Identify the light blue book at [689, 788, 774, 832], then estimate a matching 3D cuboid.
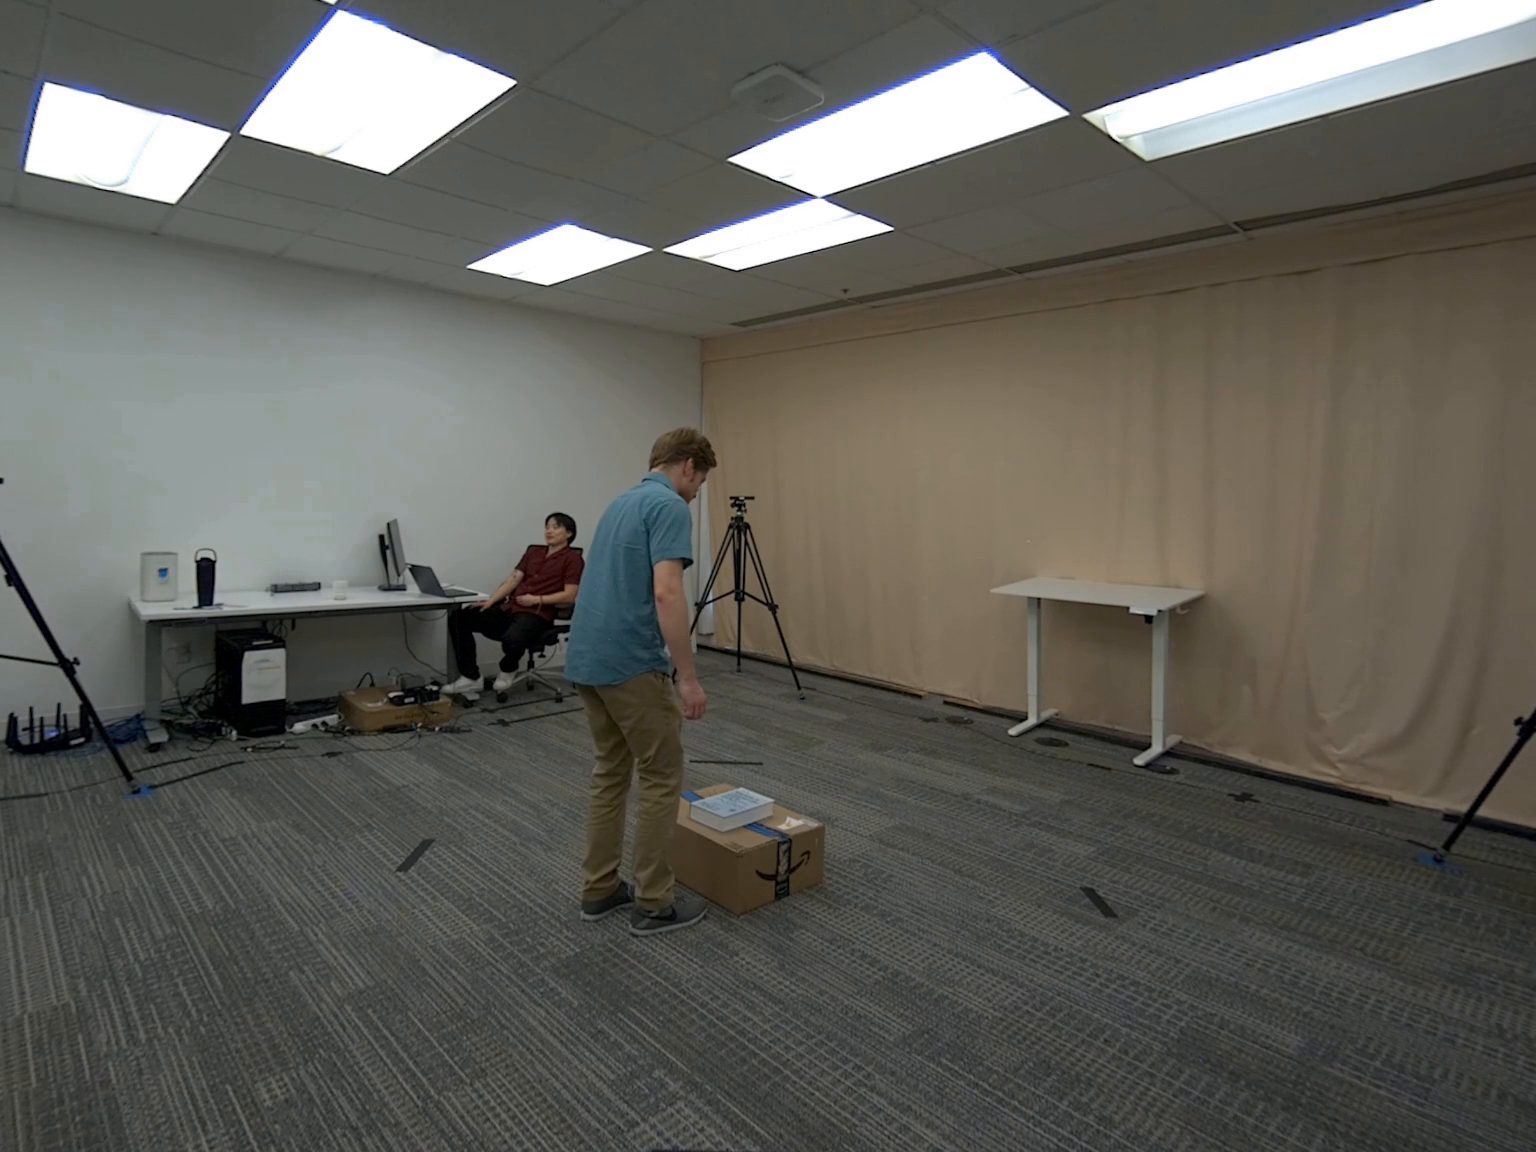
[{"bbox_3d":[-0.140,0.861,3.123,0.255,0.059,0.196,-4,7,-45],"label":"light blue book"}]
